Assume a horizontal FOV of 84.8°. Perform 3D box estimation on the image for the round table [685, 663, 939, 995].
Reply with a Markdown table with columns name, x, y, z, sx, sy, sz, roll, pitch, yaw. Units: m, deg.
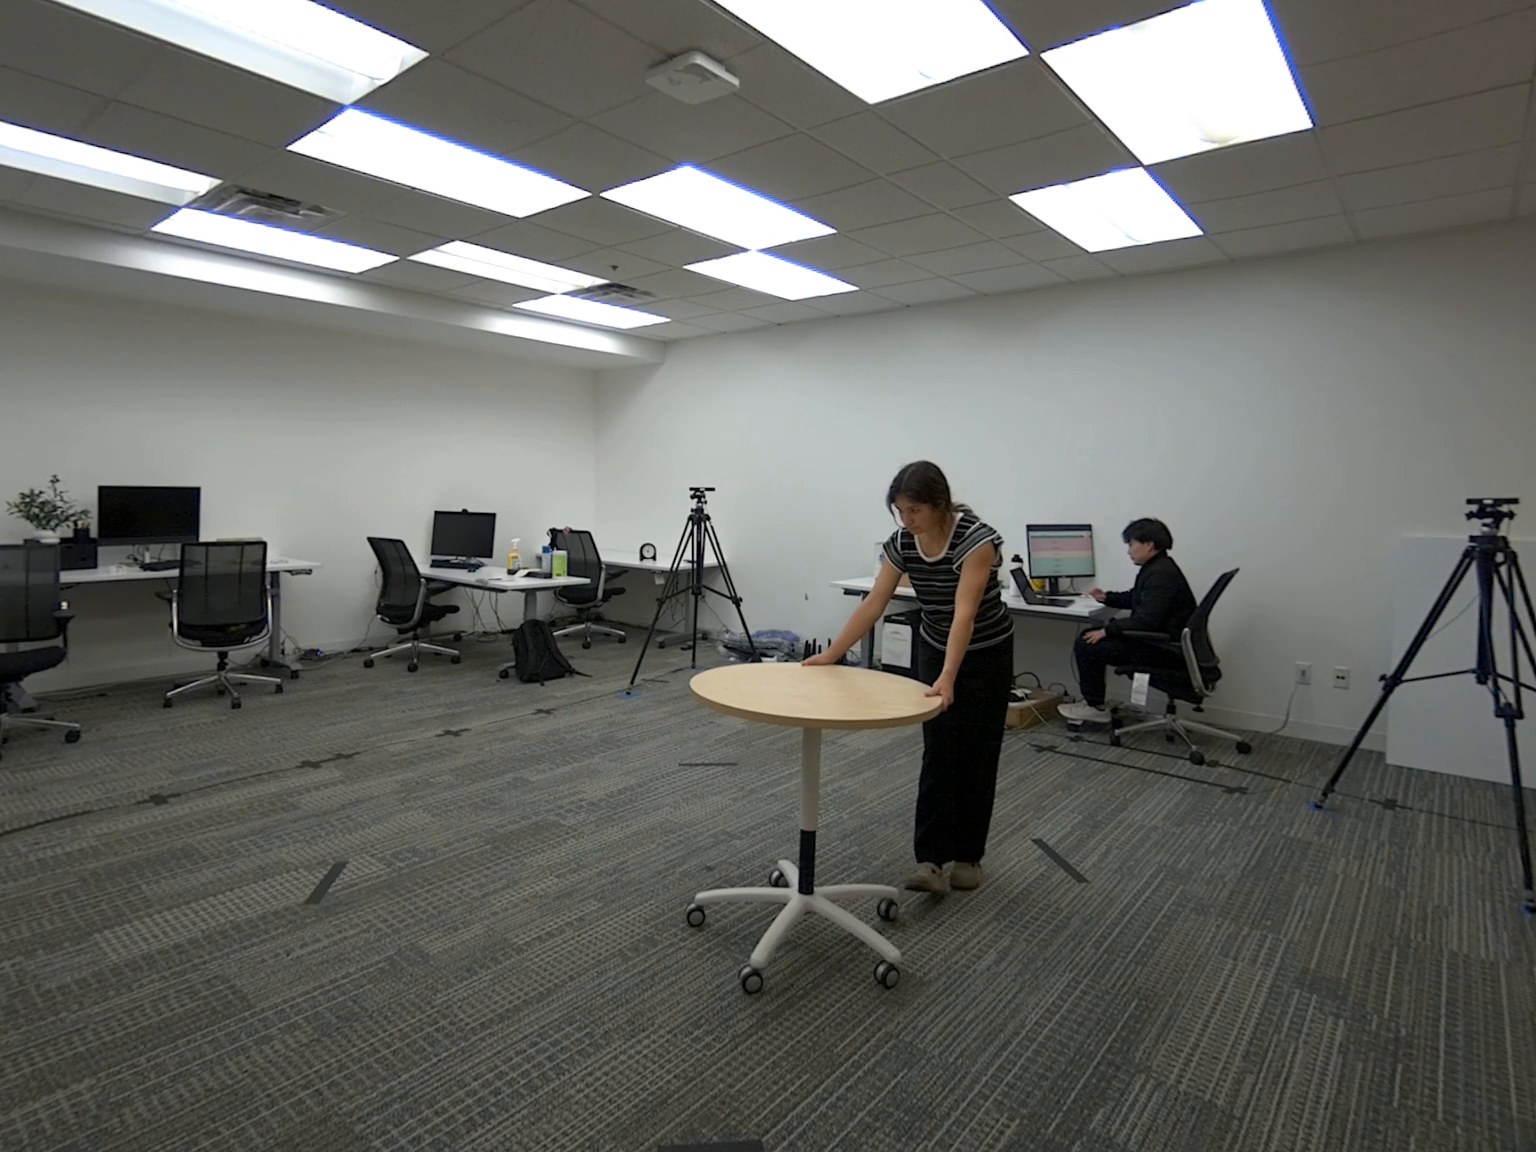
| name | x | y | z | sx | sy | sz | roll | pitch | yaw |
| --- | --- | --- | --- | --- | --- | --- | --- | --- | --- |
| round table | 0.109 | 0.733 | 2.633 | 0.763 | 0.792 | 0.767 | 2 | 4 | -2 |
